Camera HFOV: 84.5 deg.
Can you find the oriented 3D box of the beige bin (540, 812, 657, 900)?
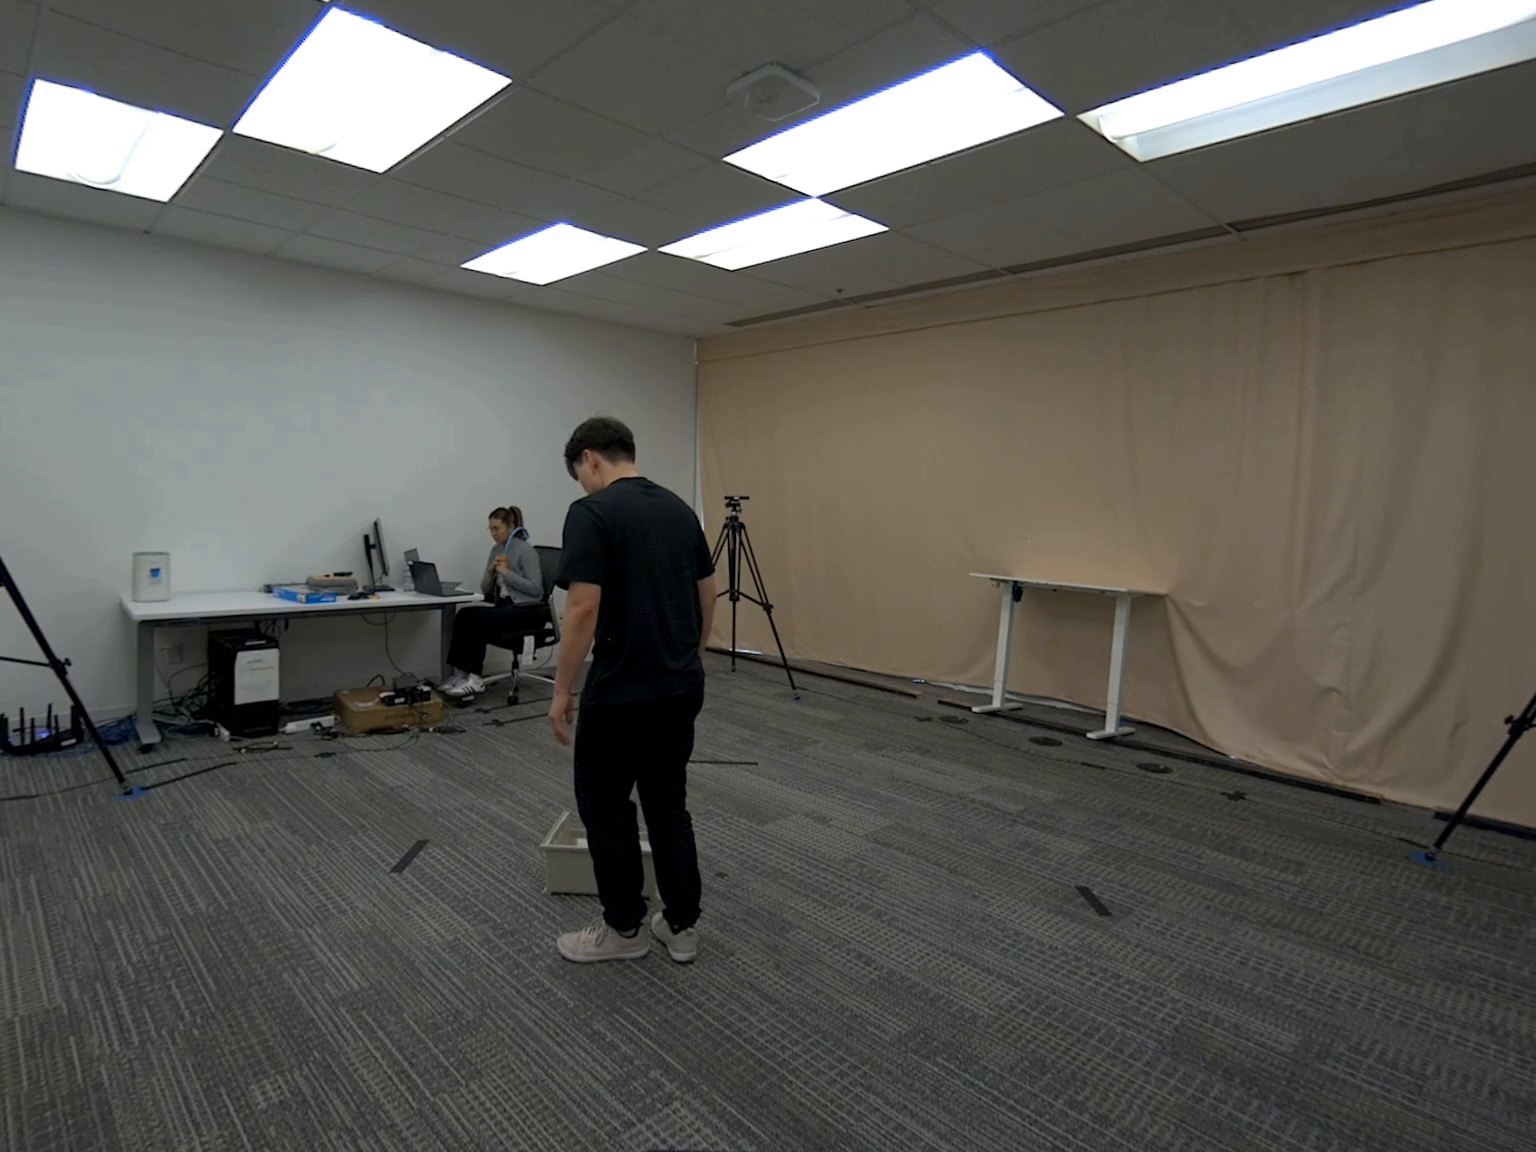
[{"bbox_3d":[-0.583,1.013,3.076,0.423,0.188,0.378,3,6,2],"label":"beige bin"}]
